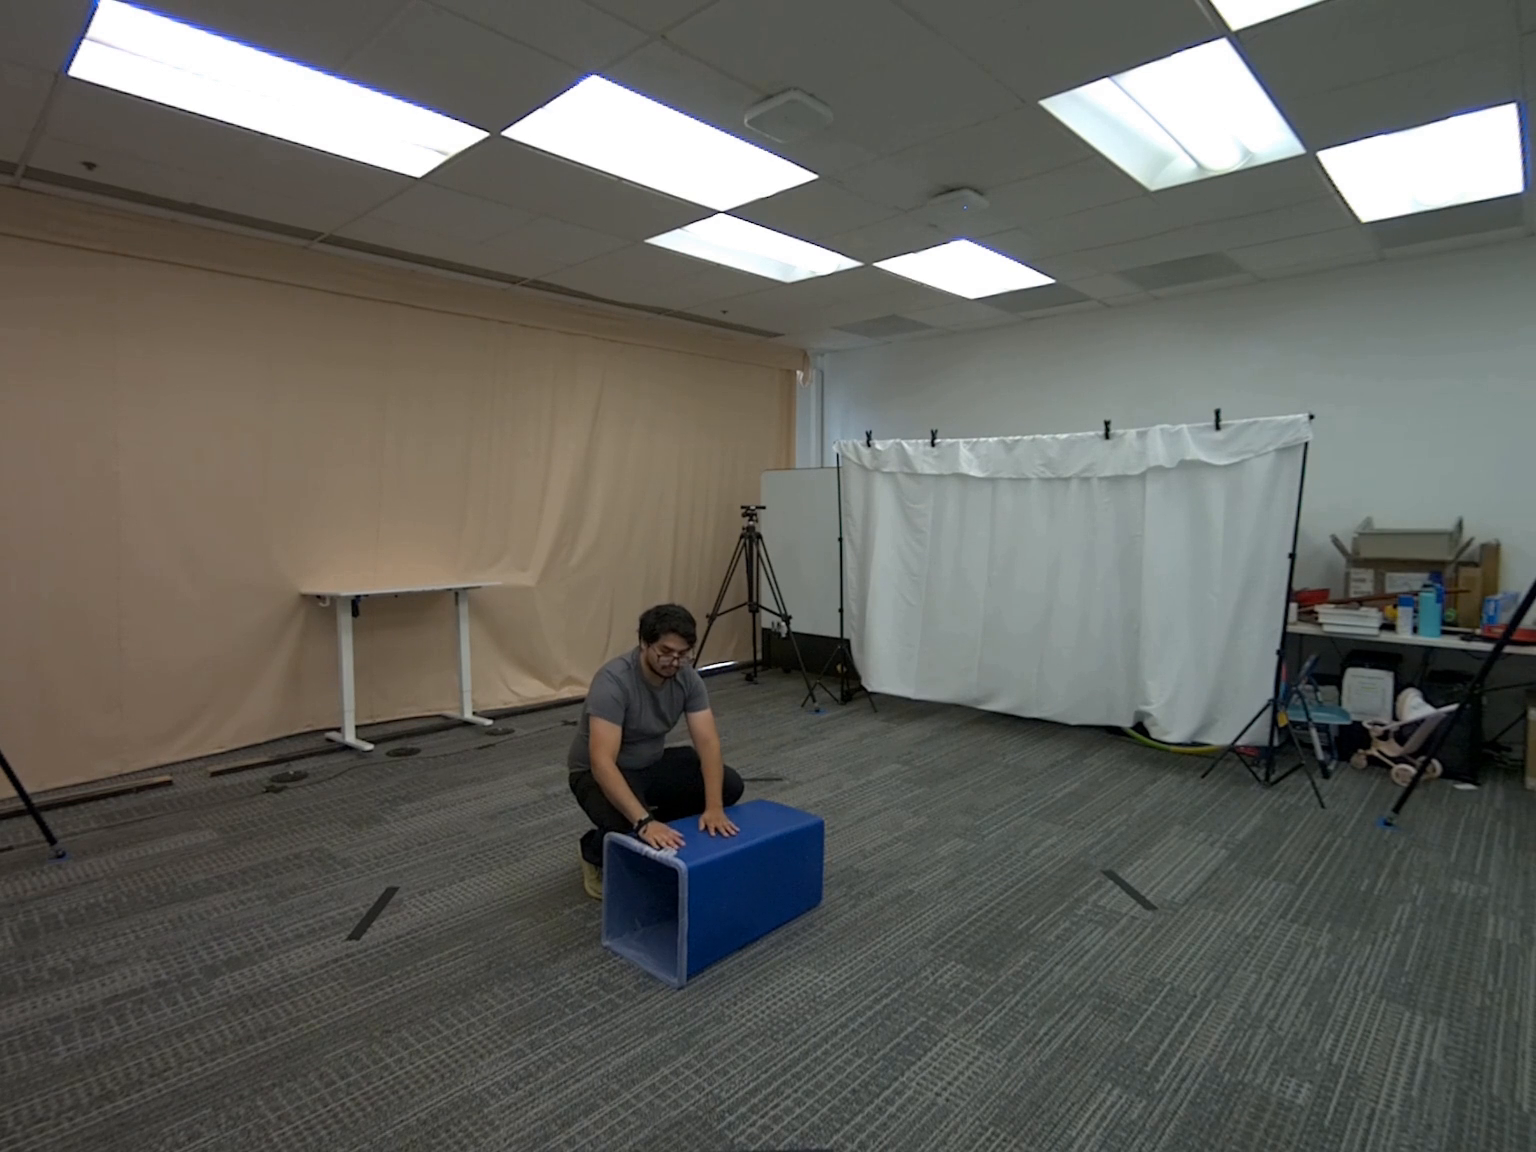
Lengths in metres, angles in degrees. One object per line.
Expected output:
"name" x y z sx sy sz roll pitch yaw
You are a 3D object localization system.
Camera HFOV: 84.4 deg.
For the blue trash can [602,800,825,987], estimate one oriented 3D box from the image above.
"blue trash can" -0.141 0.992 2.783 0.386 0.377 0.691 3 3 44
